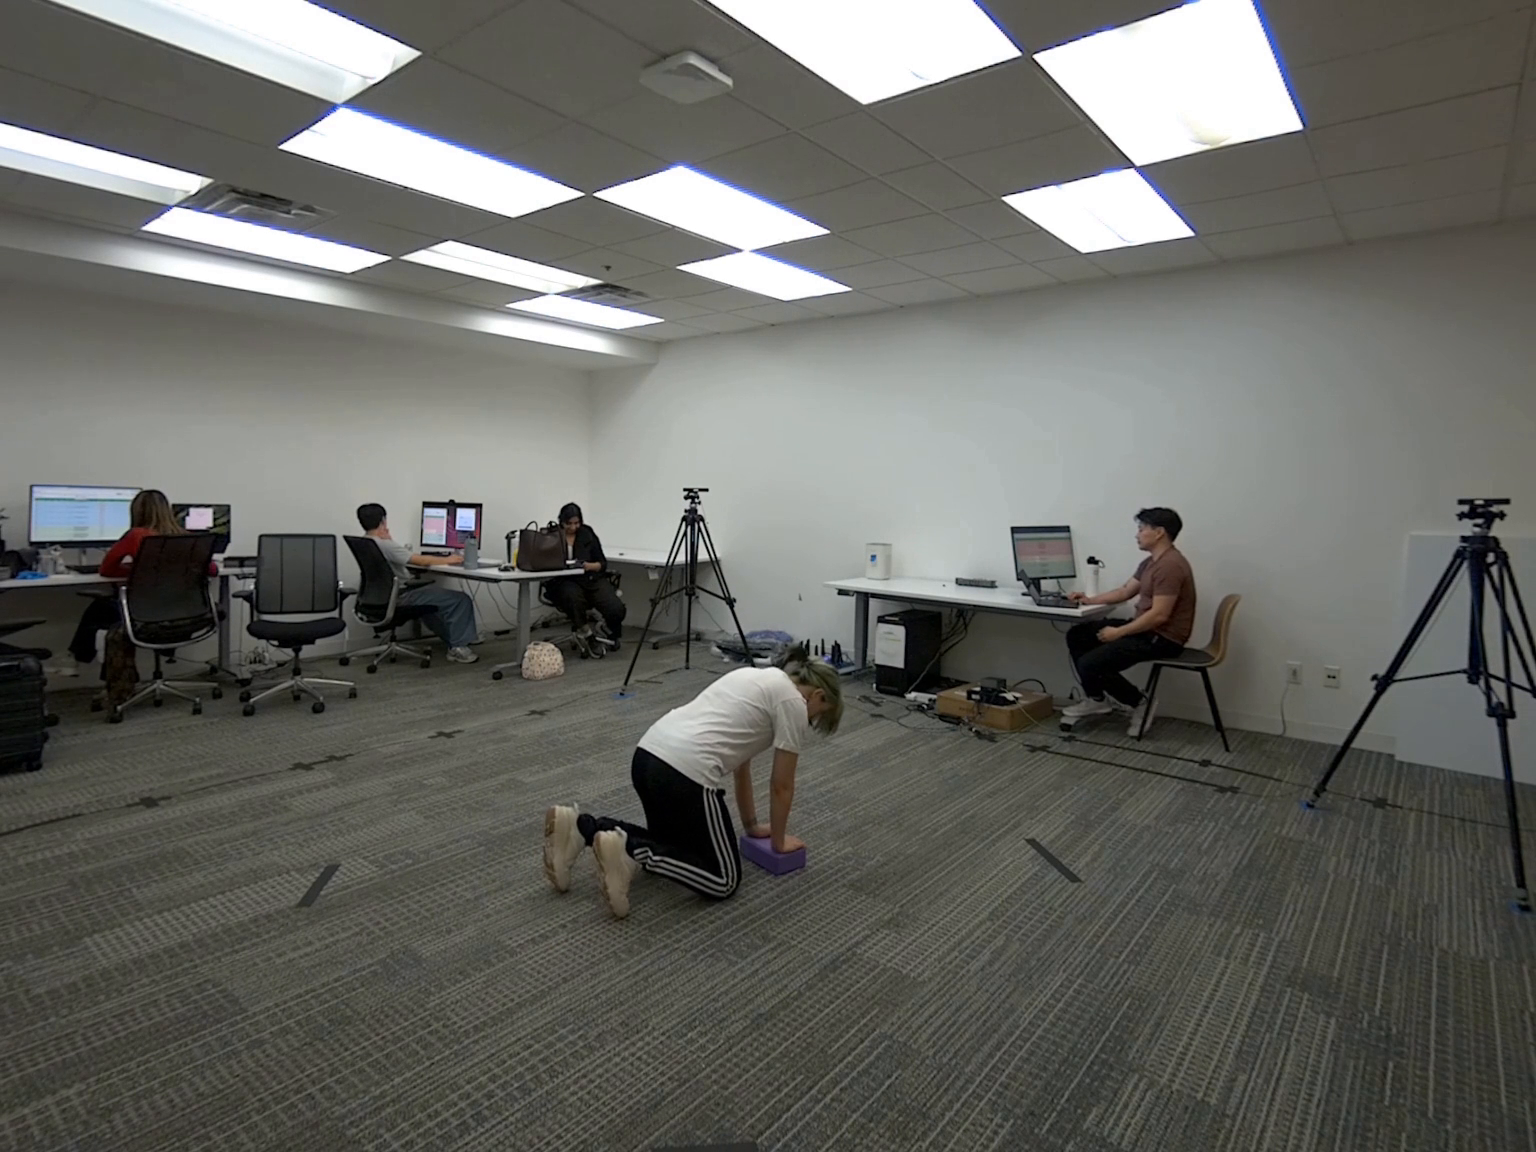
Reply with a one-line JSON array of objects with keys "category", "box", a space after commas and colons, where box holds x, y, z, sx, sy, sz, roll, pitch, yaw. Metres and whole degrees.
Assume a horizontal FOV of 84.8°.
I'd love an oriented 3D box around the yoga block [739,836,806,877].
[{"category": "yoga block", "box": [0.007, 1.033, 3.193, 0.144, 0.076, 0.237, 0, 5, -37]}]
